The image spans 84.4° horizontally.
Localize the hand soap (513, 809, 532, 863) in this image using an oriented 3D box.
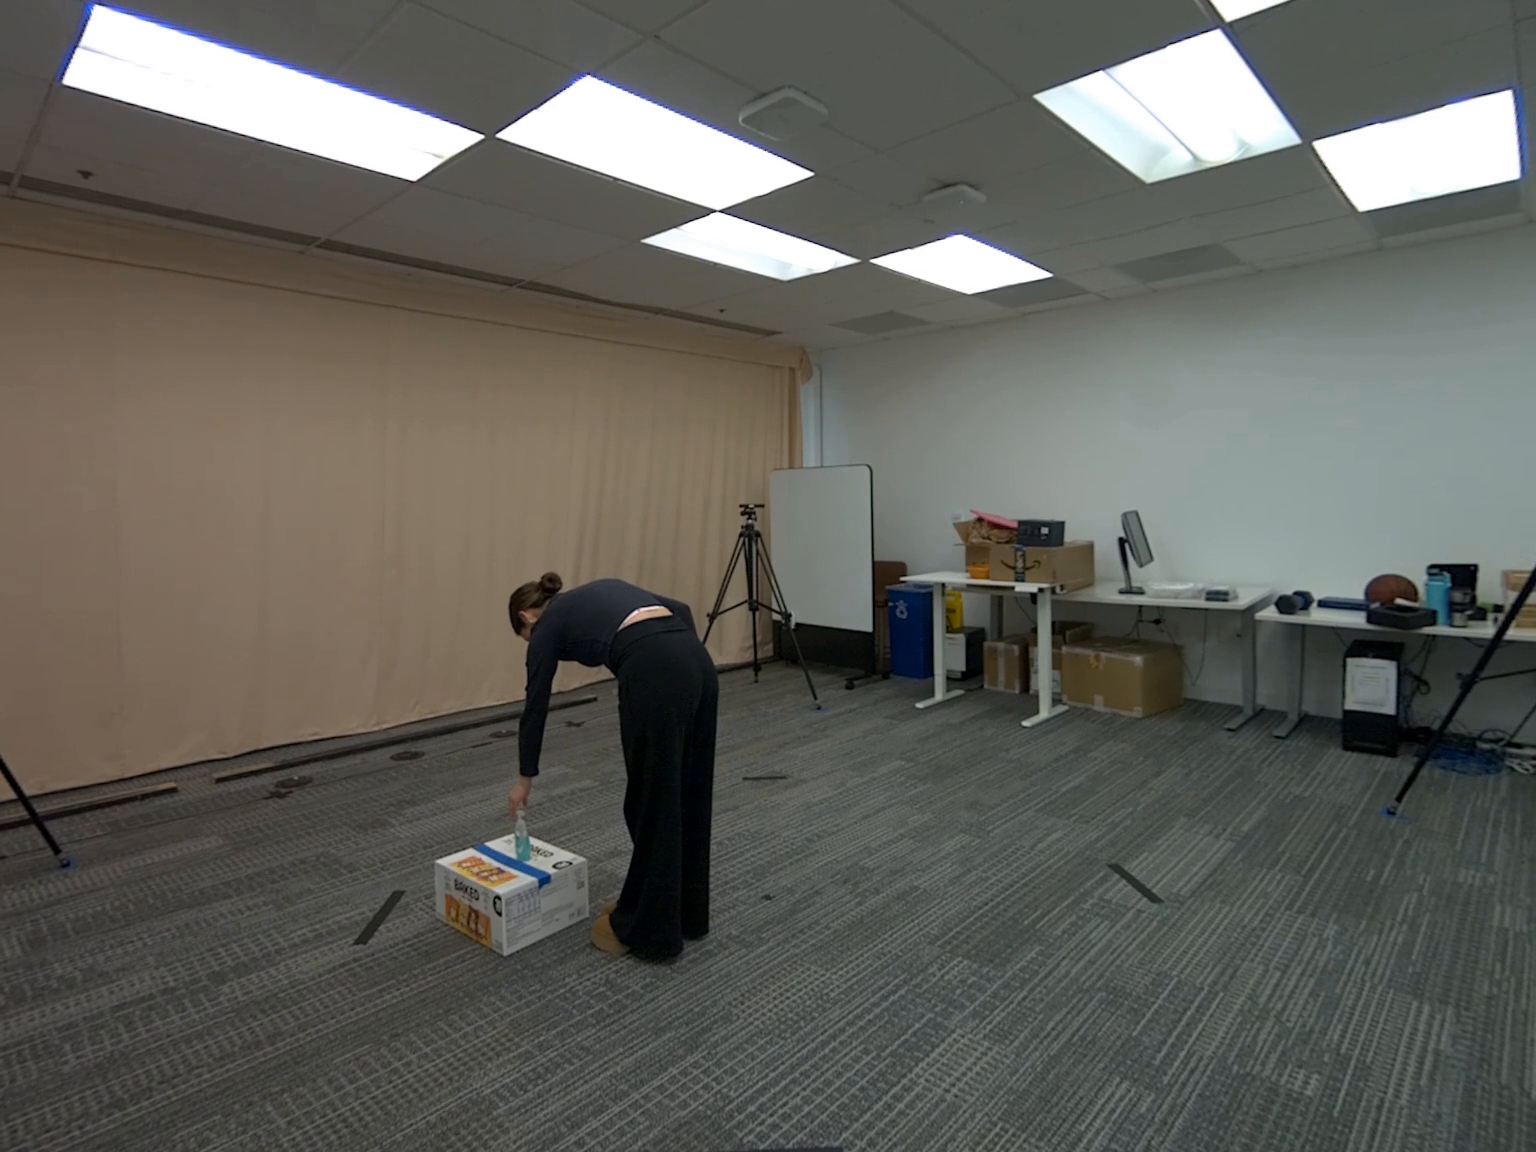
[{"bbox_3d":[-0.839,0.885,2.893,0.042,0.168,0.087,-7,5,-42],"label":"hand soap"}]
